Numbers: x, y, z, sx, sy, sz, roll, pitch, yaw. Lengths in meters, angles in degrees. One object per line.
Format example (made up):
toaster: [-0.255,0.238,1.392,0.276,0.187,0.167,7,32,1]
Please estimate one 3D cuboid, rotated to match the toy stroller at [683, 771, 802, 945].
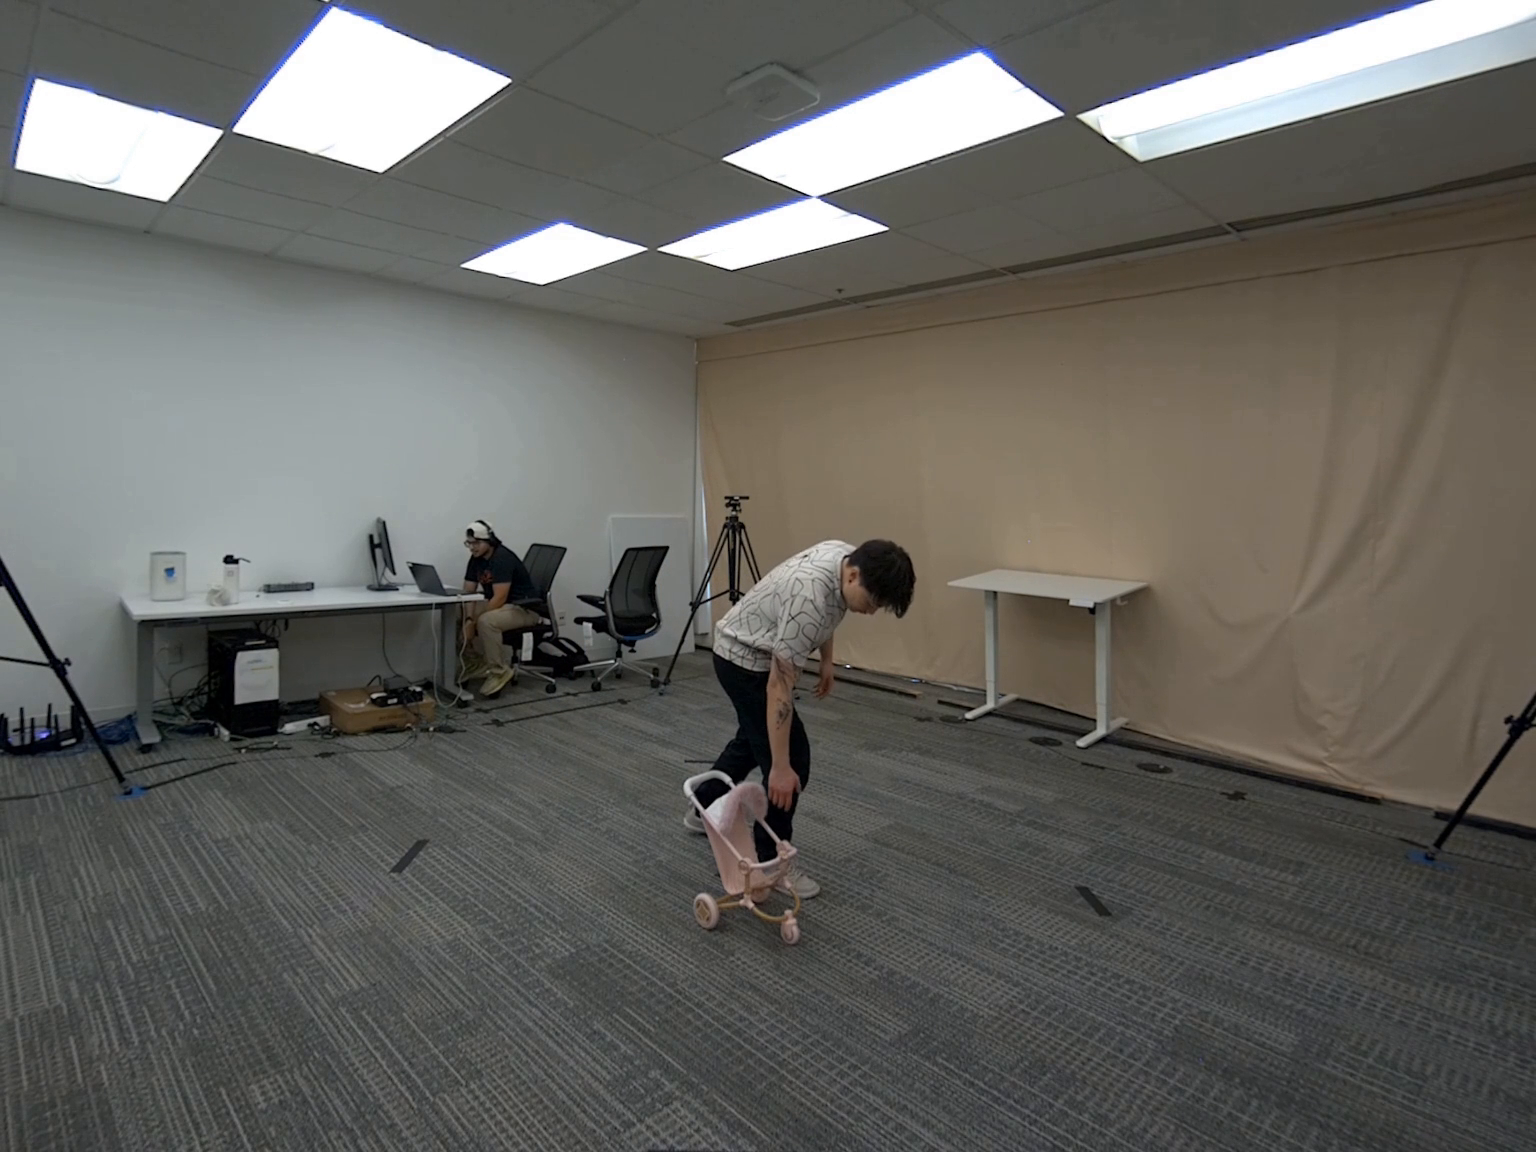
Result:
toy stroller: [-0.076,0.916,2.748,0.275,0.539,0.347,-2,-10,-43]
